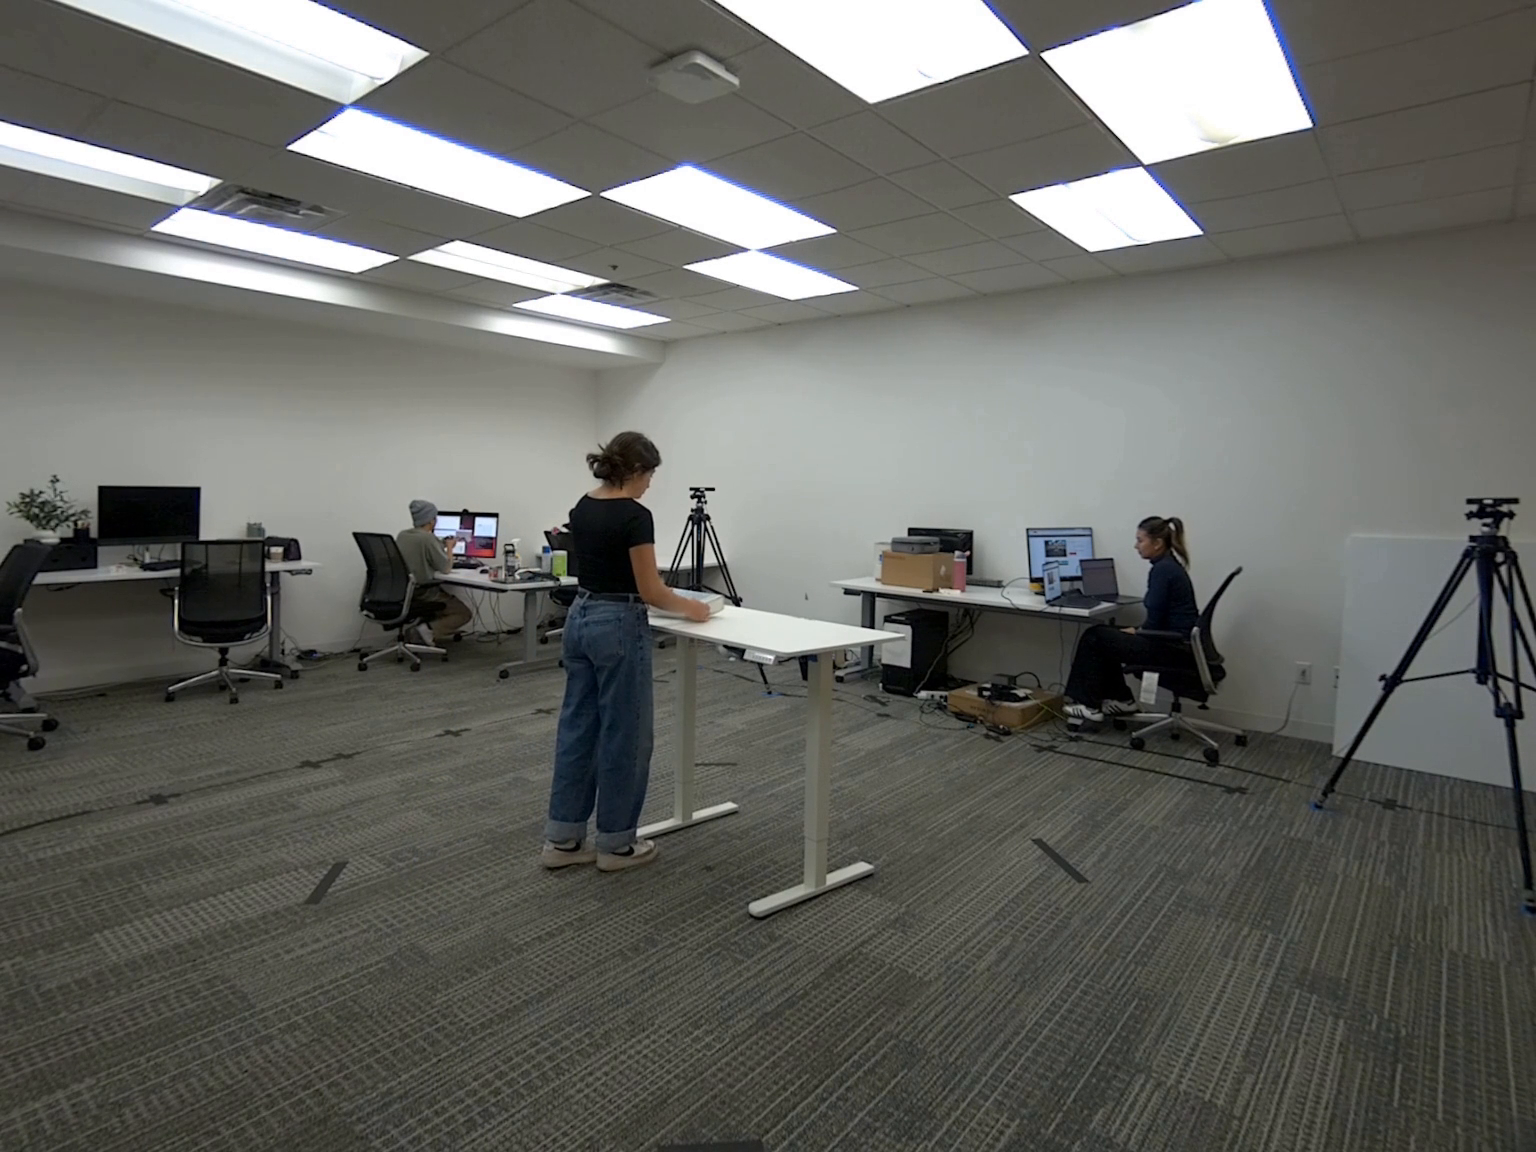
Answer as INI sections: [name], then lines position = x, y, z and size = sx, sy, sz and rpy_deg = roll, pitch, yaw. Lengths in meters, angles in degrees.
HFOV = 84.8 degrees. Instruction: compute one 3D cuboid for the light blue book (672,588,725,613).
[light blue book]
position = -0.337, 0.107, 3.350
size = 0.268, 0.058, 0.188
rpy_deg = 7, 14, 27
